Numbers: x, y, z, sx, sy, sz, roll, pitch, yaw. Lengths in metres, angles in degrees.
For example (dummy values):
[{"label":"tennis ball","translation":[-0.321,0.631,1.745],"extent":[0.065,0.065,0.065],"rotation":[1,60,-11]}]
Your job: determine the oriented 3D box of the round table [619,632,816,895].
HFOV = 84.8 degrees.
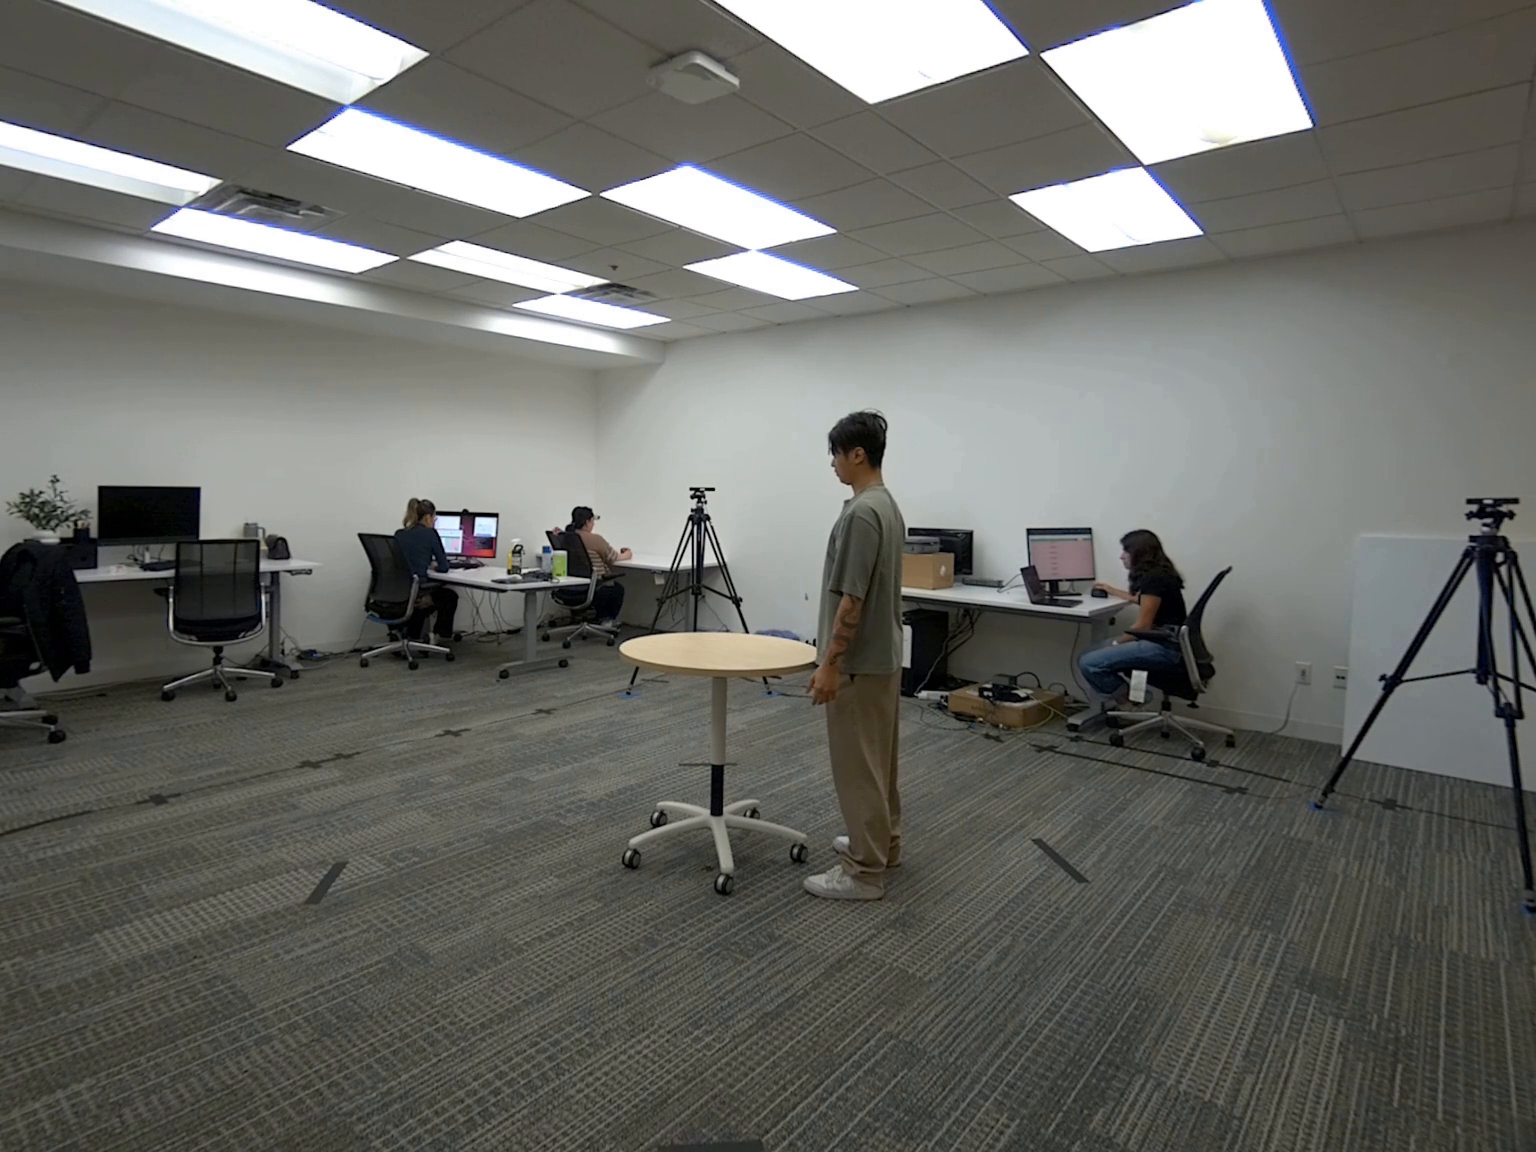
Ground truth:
[{"label":"round table","translation":[-0.208,0.664,3.239],"extent":[0.784,0.784,0.789],"rotation":[2,4,-2]}]
